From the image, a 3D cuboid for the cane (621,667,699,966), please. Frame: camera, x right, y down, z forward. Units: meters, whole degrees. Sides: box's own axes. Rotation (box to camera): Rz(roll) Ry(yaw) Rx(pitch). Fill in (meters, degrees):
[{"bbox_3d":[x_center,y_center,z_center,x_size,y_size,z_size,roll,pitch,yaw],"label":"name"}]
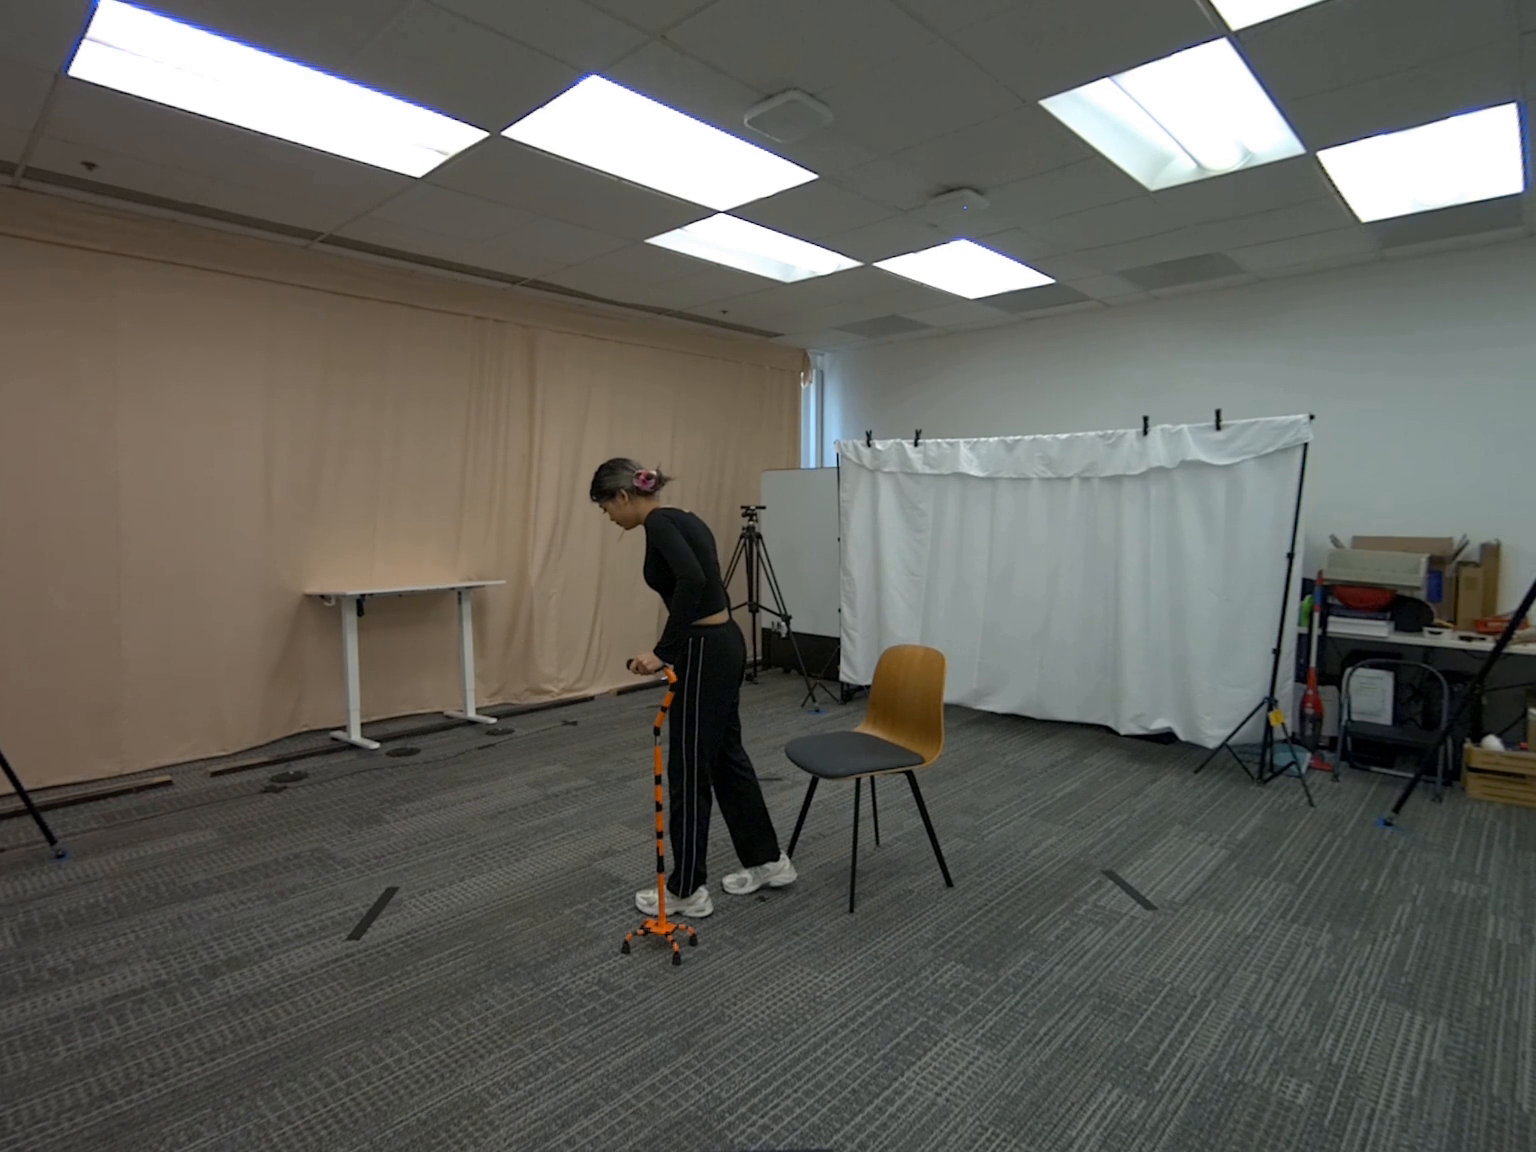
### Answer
[{"bbox_3d":[-0.344,0.717,2.633,0.211,0.906,0.149,1,3,20],"label":"cane"}]
